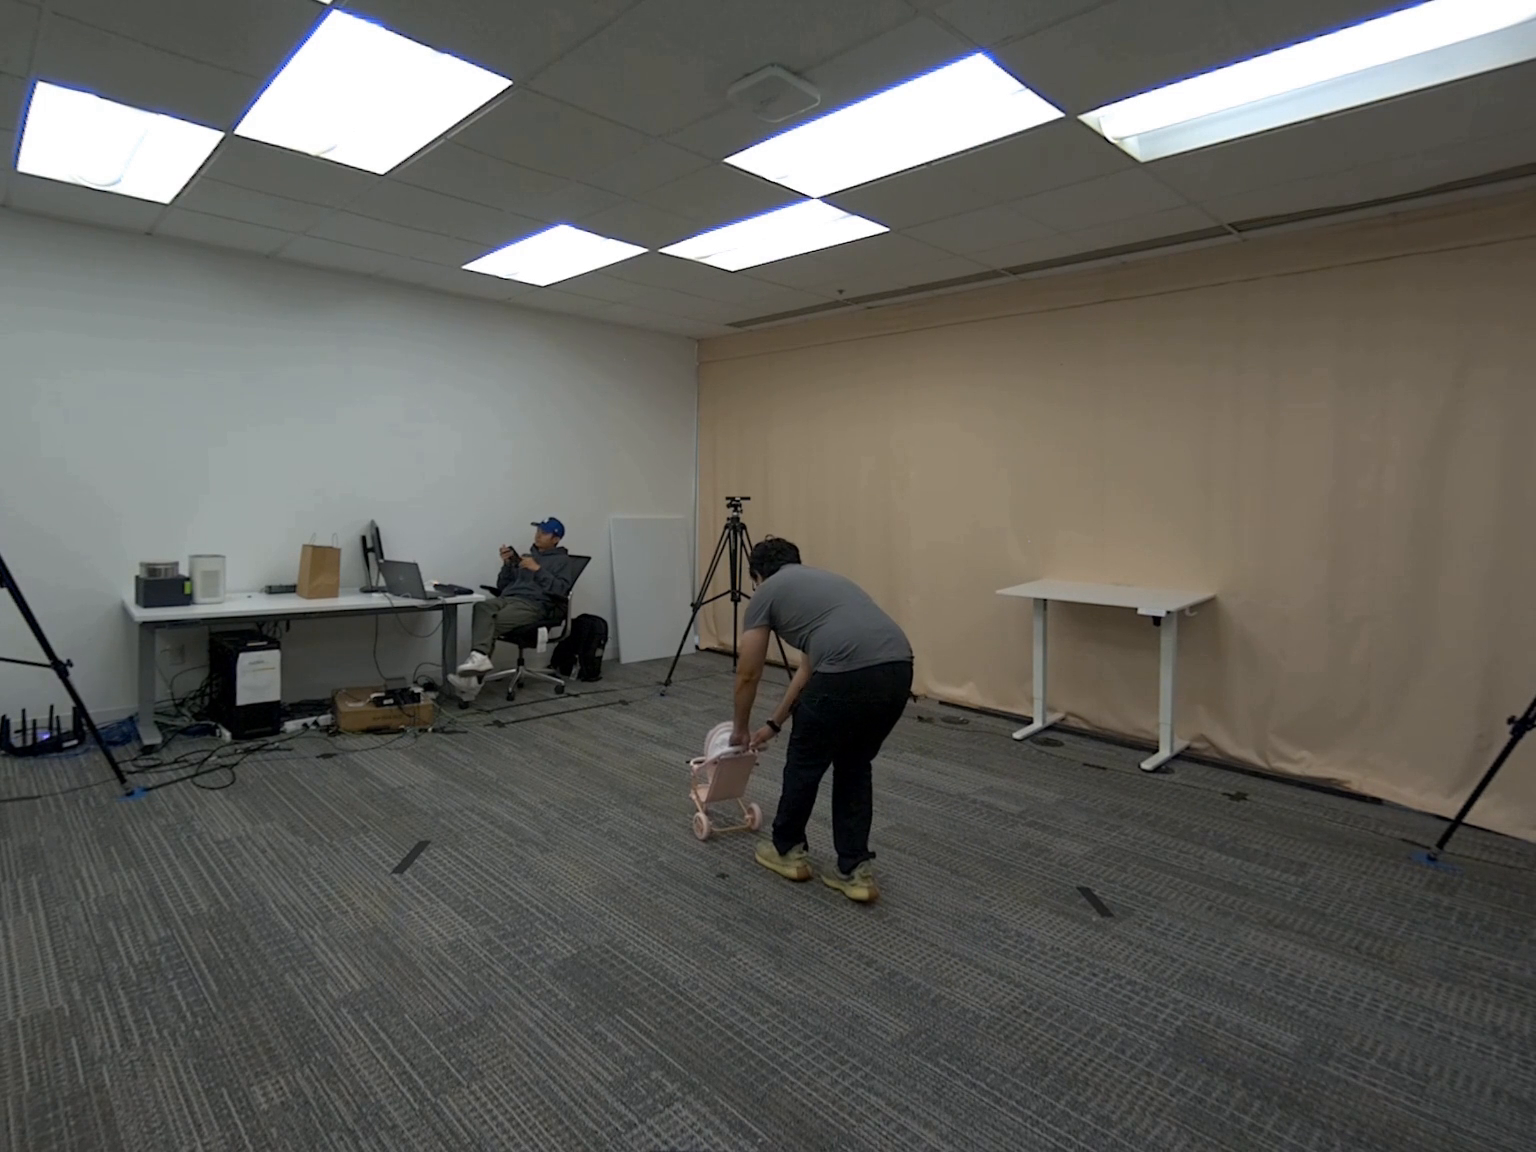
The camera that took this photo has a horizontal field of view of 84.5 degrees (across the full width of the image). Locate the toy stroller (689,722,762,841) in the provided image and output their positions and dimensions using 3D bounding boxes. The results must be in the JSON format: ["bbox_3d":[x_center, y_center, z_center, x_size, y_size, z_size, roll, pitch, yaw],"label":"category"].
[{"bbox_3d":[-0.189,0.843,3.529,0.276,0.529,0.351,0,21,-26],"label":"toy stroller"}]
